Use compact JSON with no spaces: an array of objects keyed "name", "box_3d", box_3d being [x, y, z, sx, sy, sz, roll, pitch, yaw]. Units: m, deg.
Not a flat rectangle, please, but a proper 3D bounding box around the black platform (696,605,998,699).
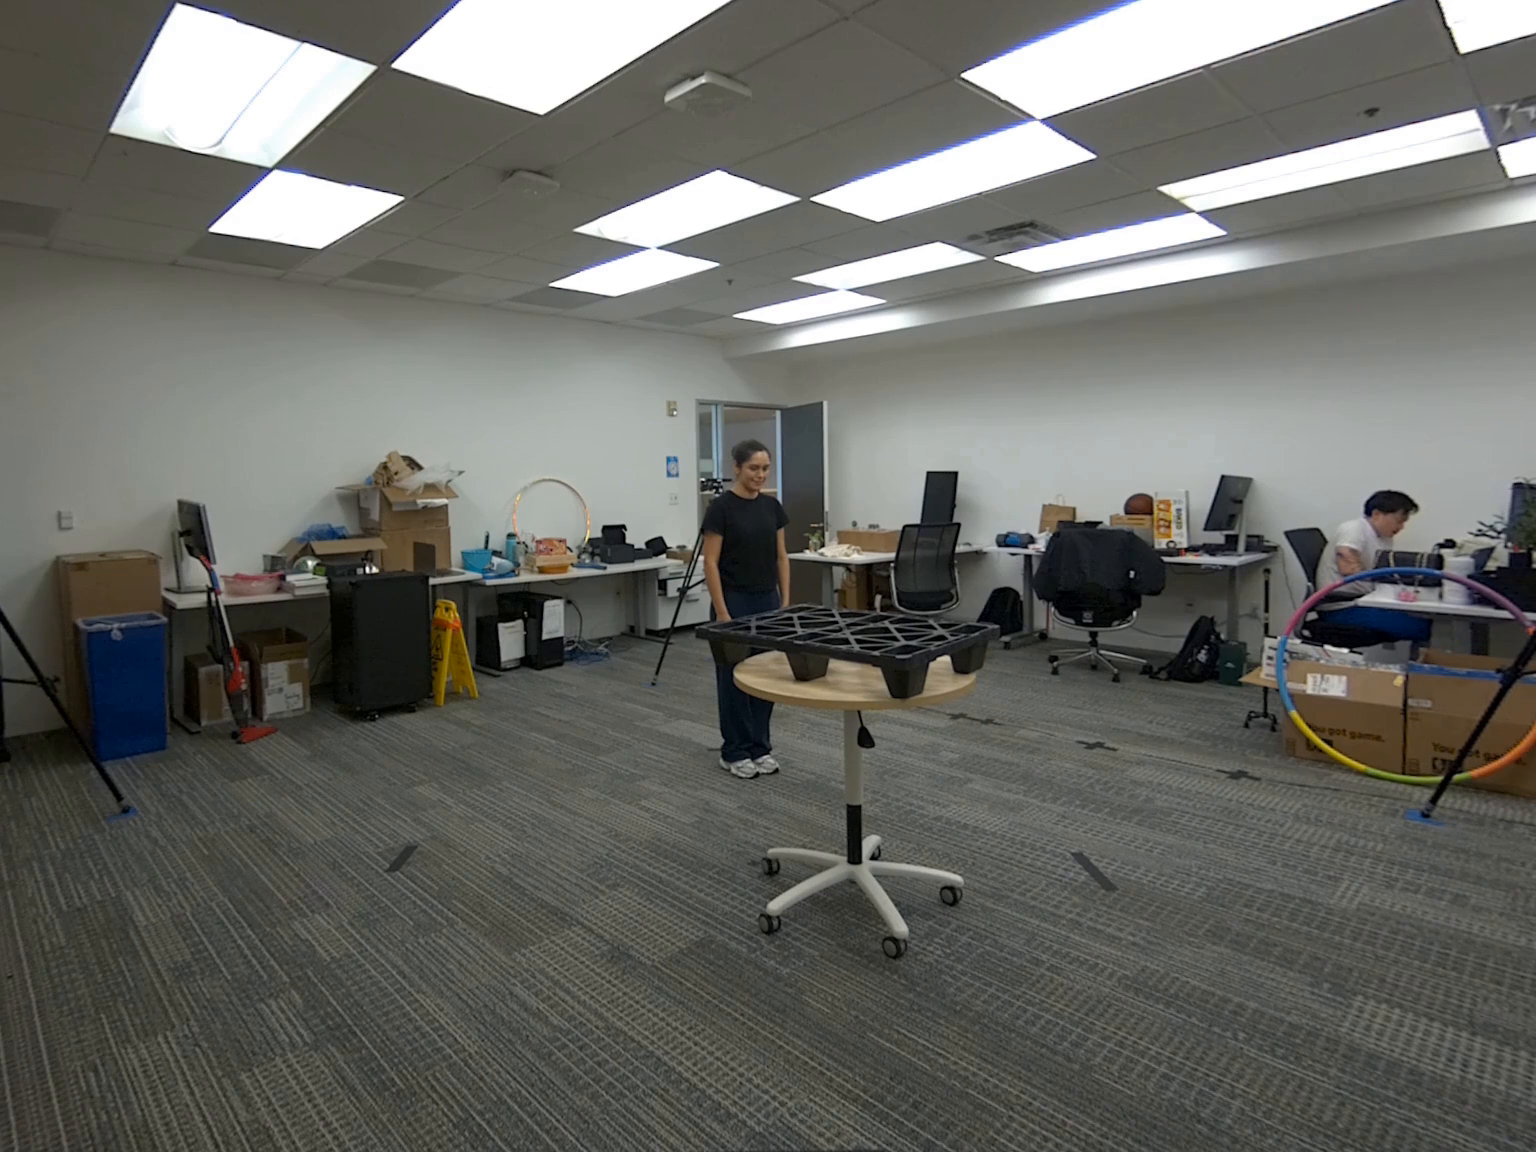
[{"name":"black platform","box_3d":[0.247,0.233,2.791,0.830,0.142,0.590,4,9,42]}]
